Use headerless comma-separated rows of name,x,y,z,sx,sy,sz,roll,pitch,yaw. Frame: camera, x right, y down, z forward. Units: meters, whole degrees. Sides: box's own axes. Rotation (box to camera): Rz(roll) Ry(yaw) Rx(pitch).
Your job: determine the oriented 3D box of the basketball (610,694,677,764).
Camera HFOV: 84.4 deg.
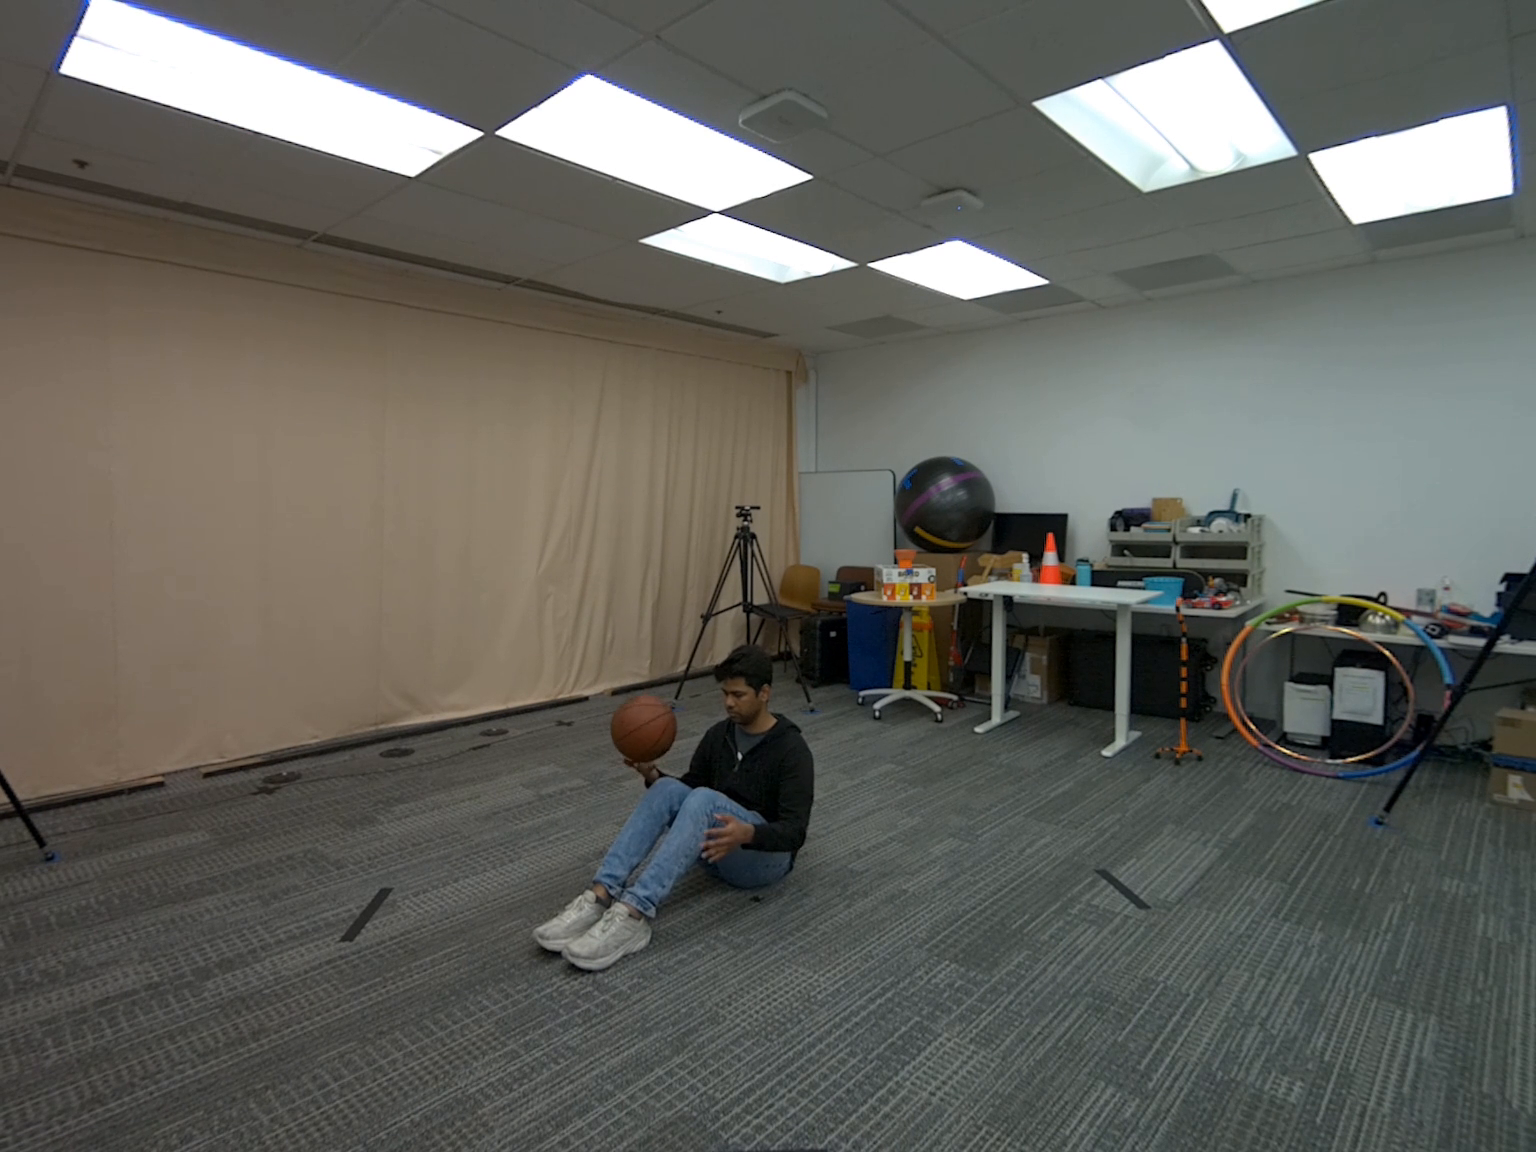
basketball,-0.427,0.569,3.014,0.236,0.235,0.237,0,4,-2
